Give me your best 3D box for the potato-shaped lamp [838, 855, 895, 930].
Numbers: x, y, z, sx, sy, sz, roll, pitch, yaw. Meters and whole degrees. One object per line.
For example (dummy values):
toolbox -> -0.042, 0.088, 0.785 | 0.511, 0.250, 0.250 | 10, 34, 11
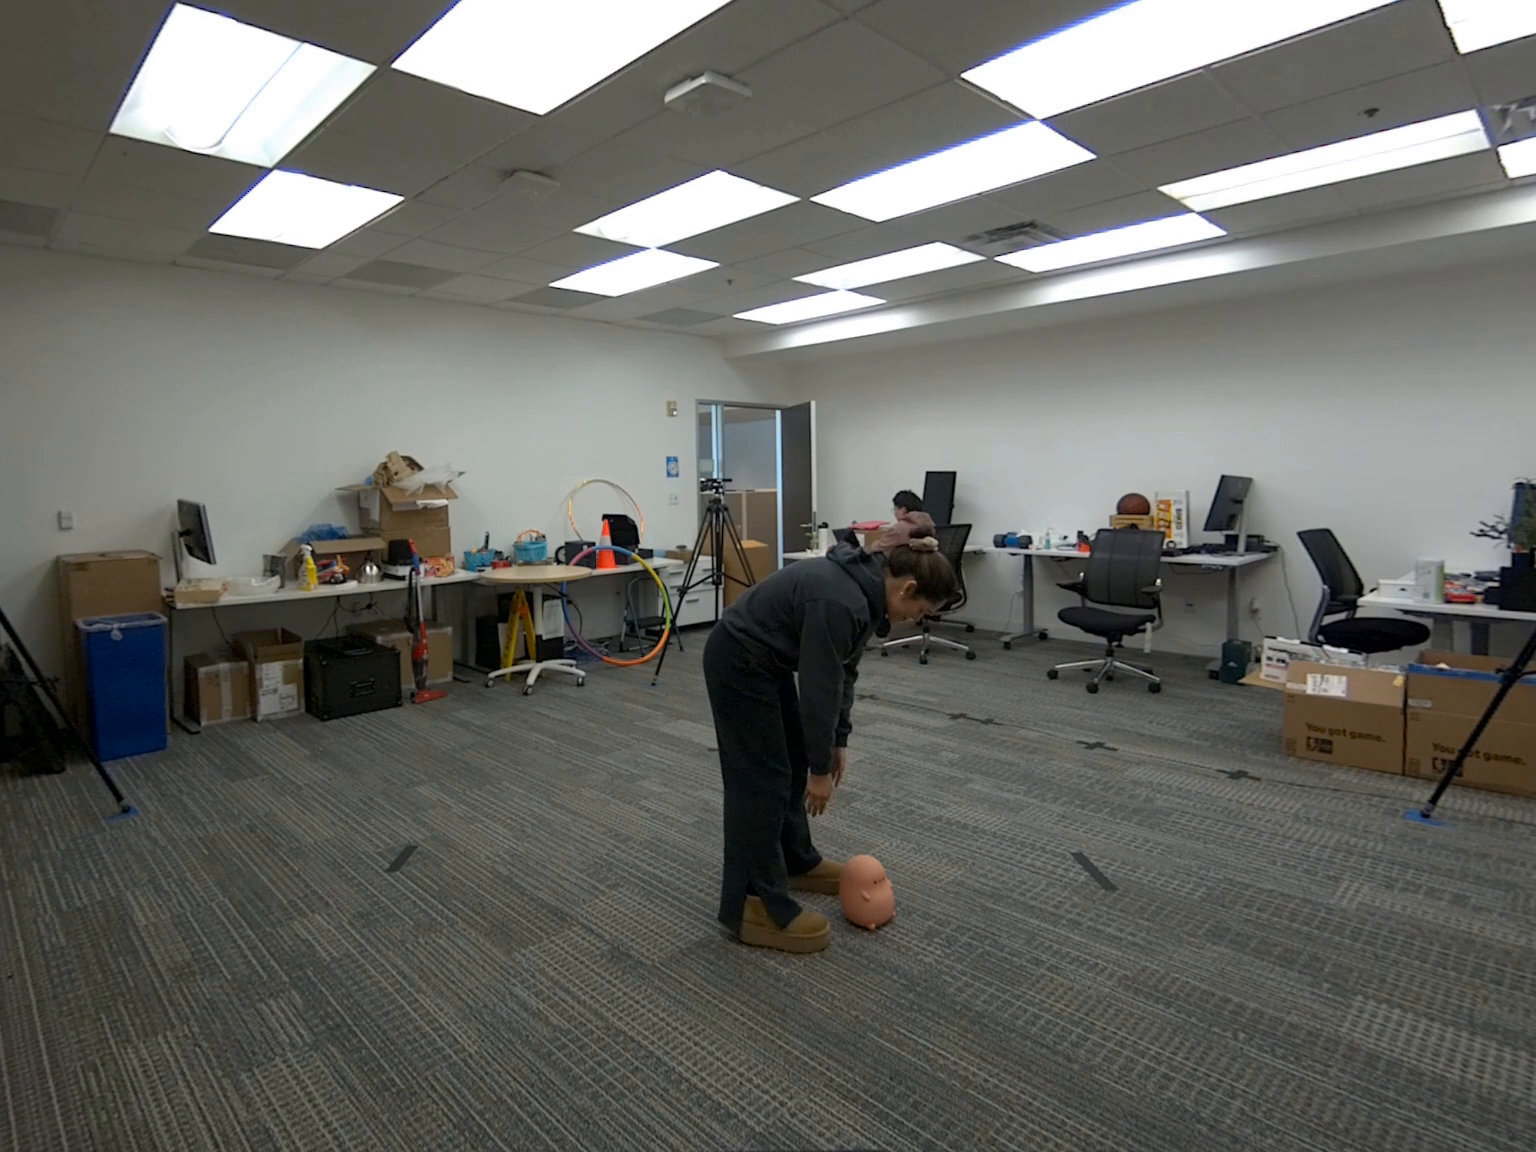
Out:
potato-shaped lamp -> 0.311, 0.987, 2.683 | 0.161, 0.197, 0.176 | -8, 7, -40
